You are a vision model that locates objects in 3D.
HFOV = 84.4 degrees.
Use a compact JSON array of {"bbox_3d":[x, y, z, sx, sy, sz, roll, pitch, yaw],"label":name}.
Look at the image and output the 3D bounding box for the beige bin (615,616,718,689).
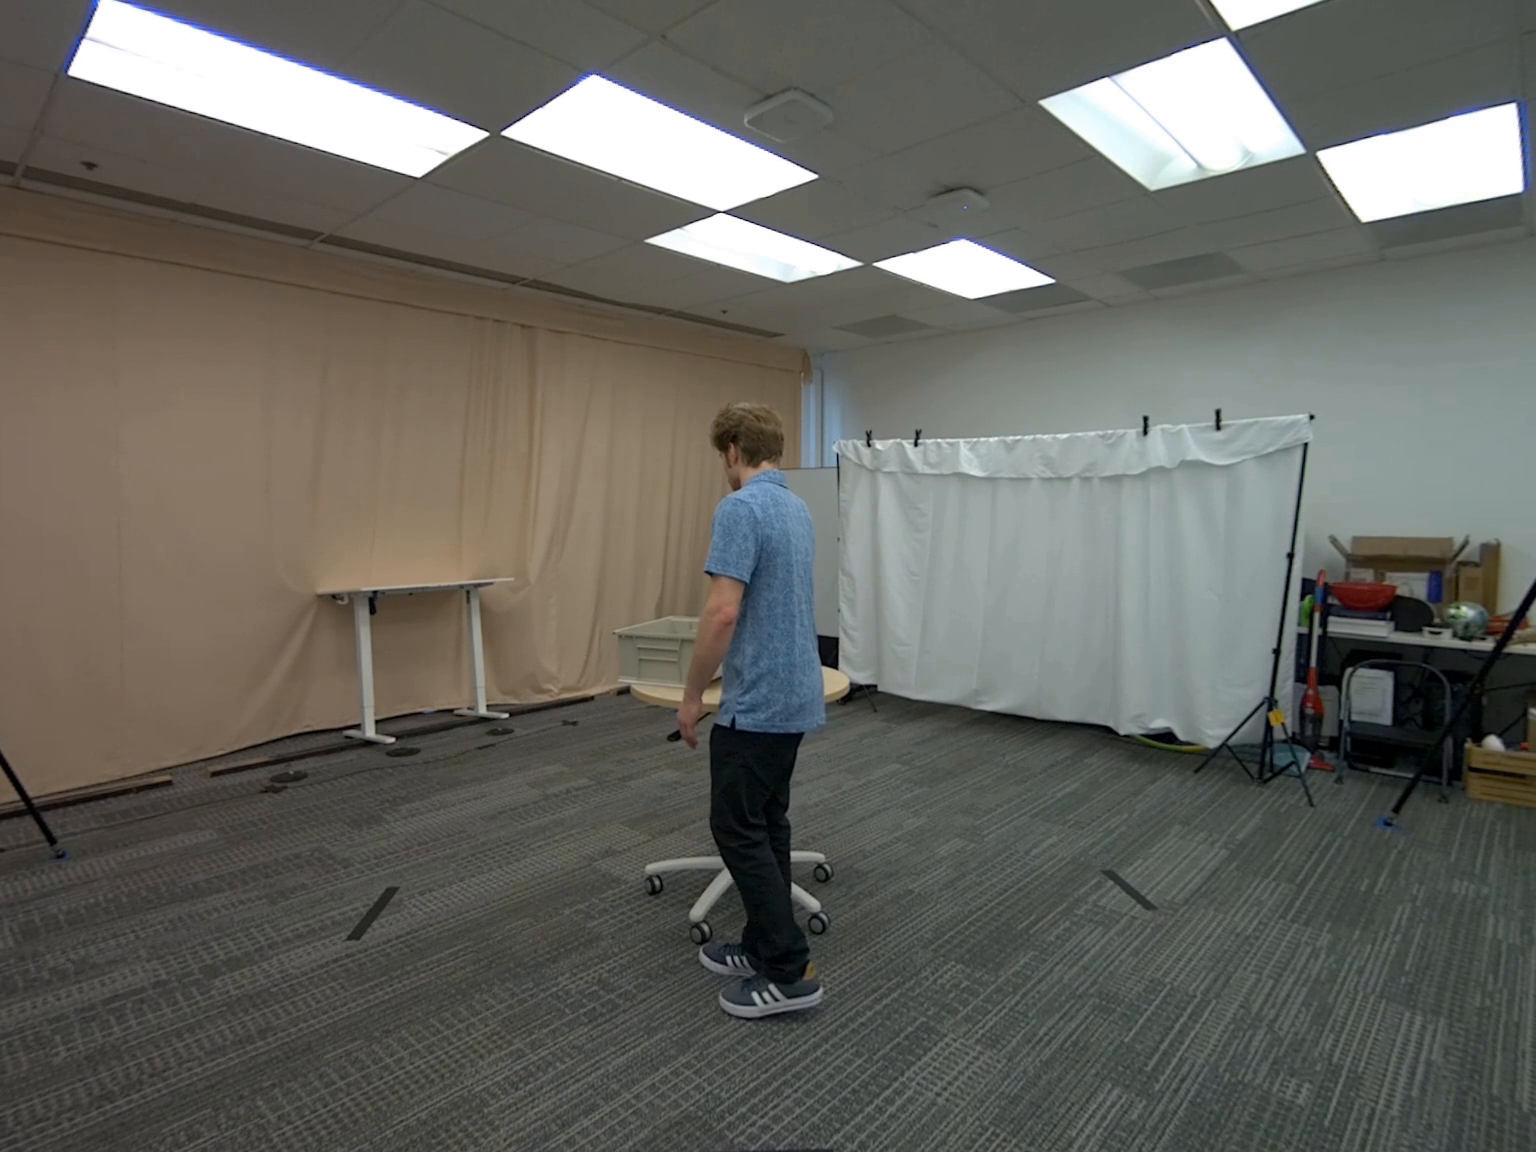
[{"bbox_3d":[-0.280,0.269,3.033,0.387,0.188,0.413,0,5,25],"label":"beige bin"}]
